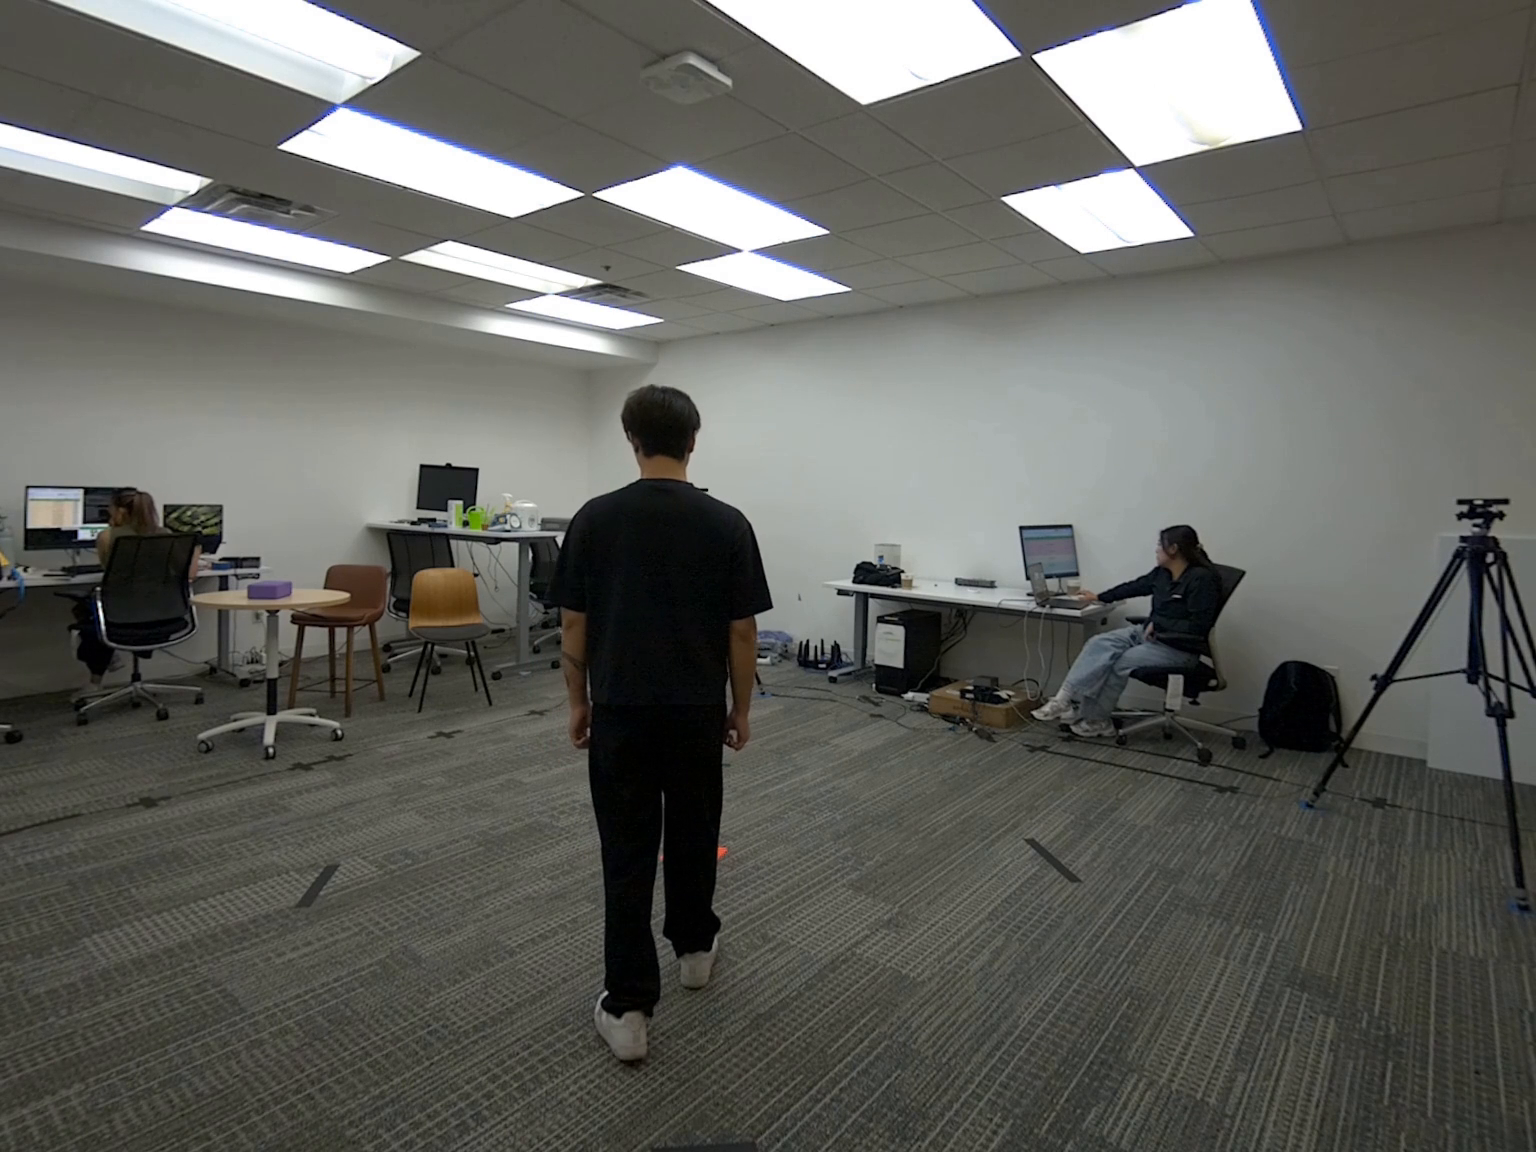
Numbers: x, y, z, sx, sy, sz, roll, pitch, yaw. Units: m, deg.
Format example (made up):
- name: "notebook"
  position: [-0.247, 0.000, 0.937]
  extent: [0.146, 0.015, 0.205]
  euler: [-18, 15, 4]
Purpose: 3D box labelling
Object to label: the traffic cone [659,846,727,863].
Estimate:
- name: "traffic cone"
  position: [-0.283, 0.872, 3.218]
  extent: [0.210, 0.382, 0.199]
  euler: [3, 5, 24]
